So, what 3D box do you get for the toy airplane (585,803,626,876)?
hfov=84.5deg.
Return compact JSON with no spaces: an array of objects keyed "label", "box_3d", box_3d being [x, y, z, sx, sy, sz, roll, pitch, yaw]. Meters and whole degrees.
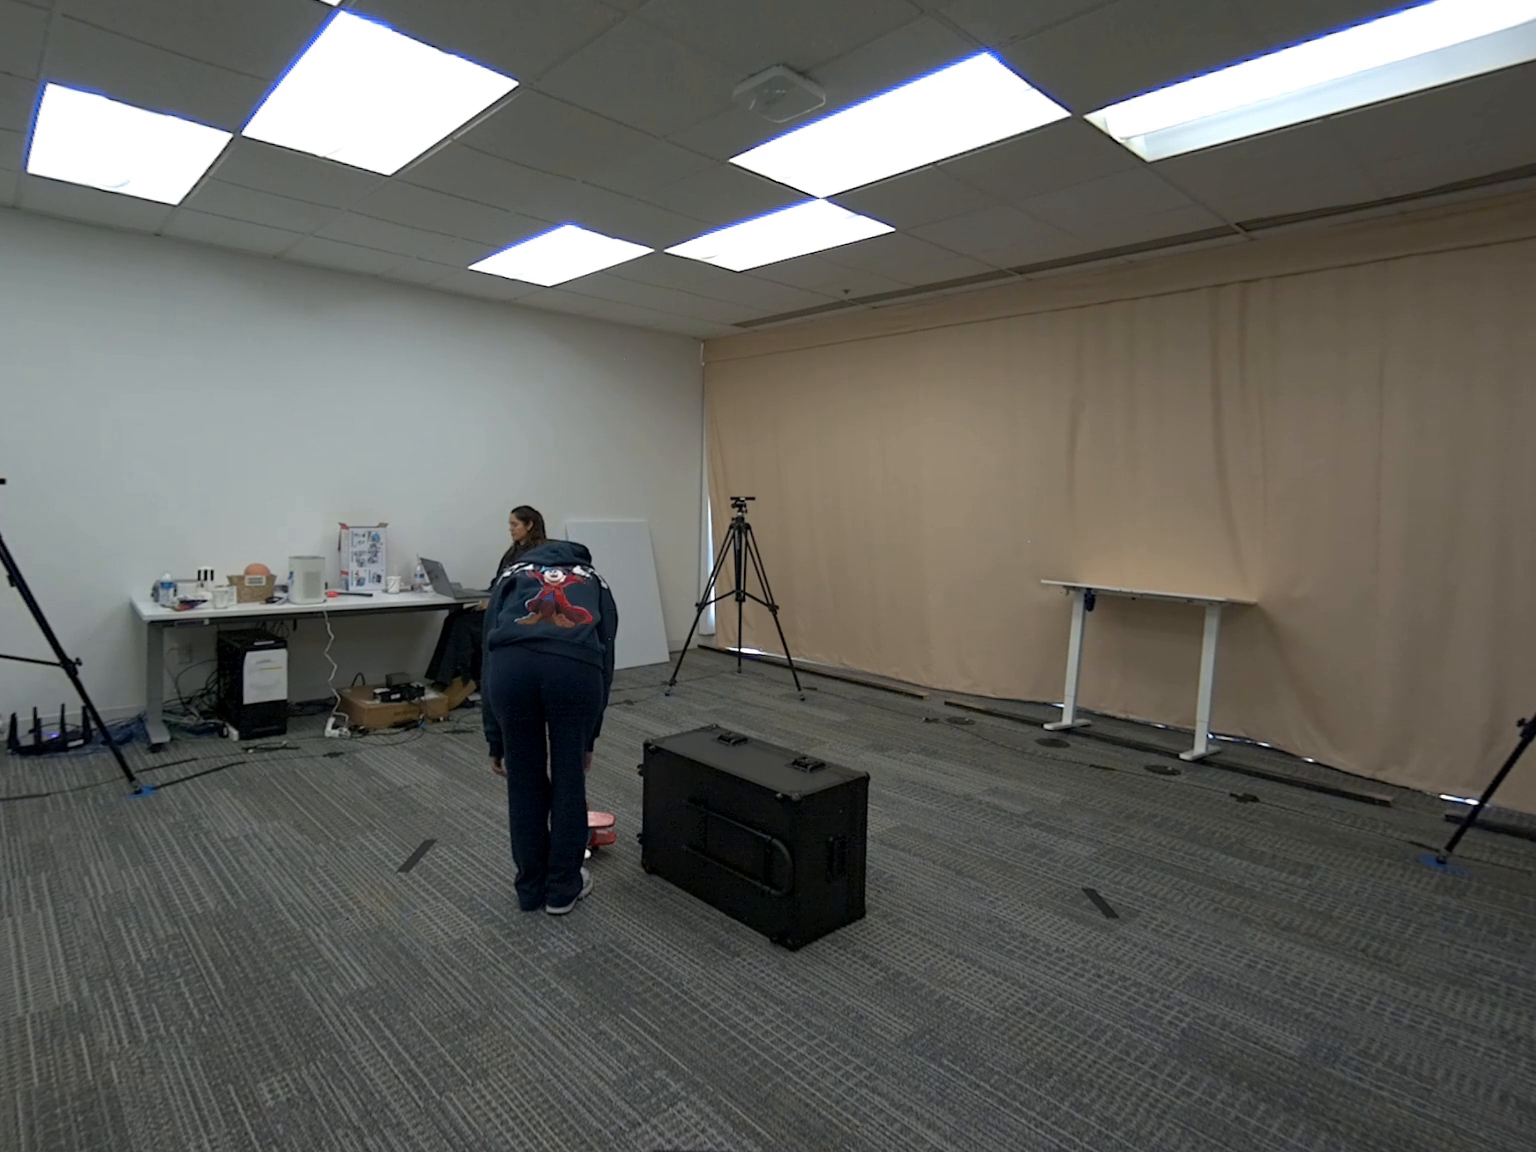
[{"label":"toy airplane","box_3d":[-0.705,1.010,3.241,0.247,0.156,0.265,0,8,-23]}]
